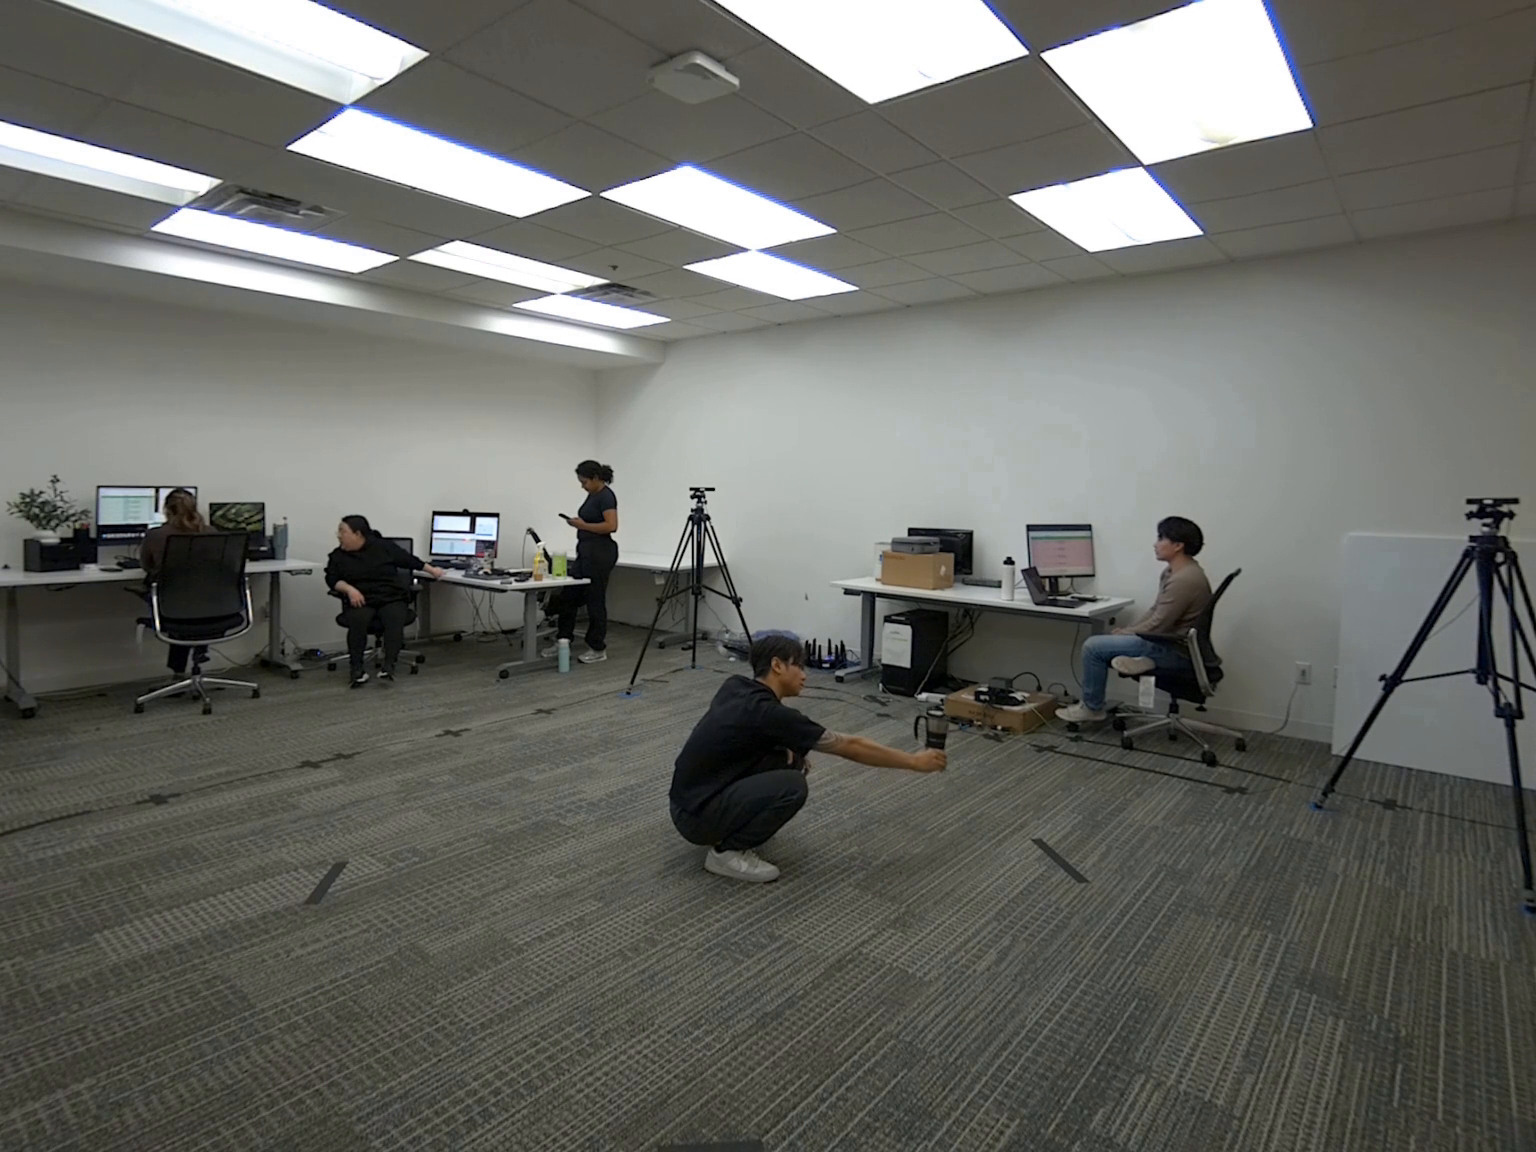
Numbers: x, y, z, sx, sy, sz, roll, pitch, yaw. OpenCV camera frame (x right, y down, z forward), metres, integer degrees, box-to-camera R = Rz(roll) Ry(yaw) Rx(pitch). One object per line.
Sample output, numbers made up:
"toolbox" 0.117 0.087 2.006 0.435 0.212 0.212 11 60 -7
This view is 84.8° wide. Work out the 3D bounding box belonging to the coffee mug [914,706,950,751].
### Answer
"coffee mug" 0.590 0.600 3.160 0.126 0.202 0.085 8 5 36
